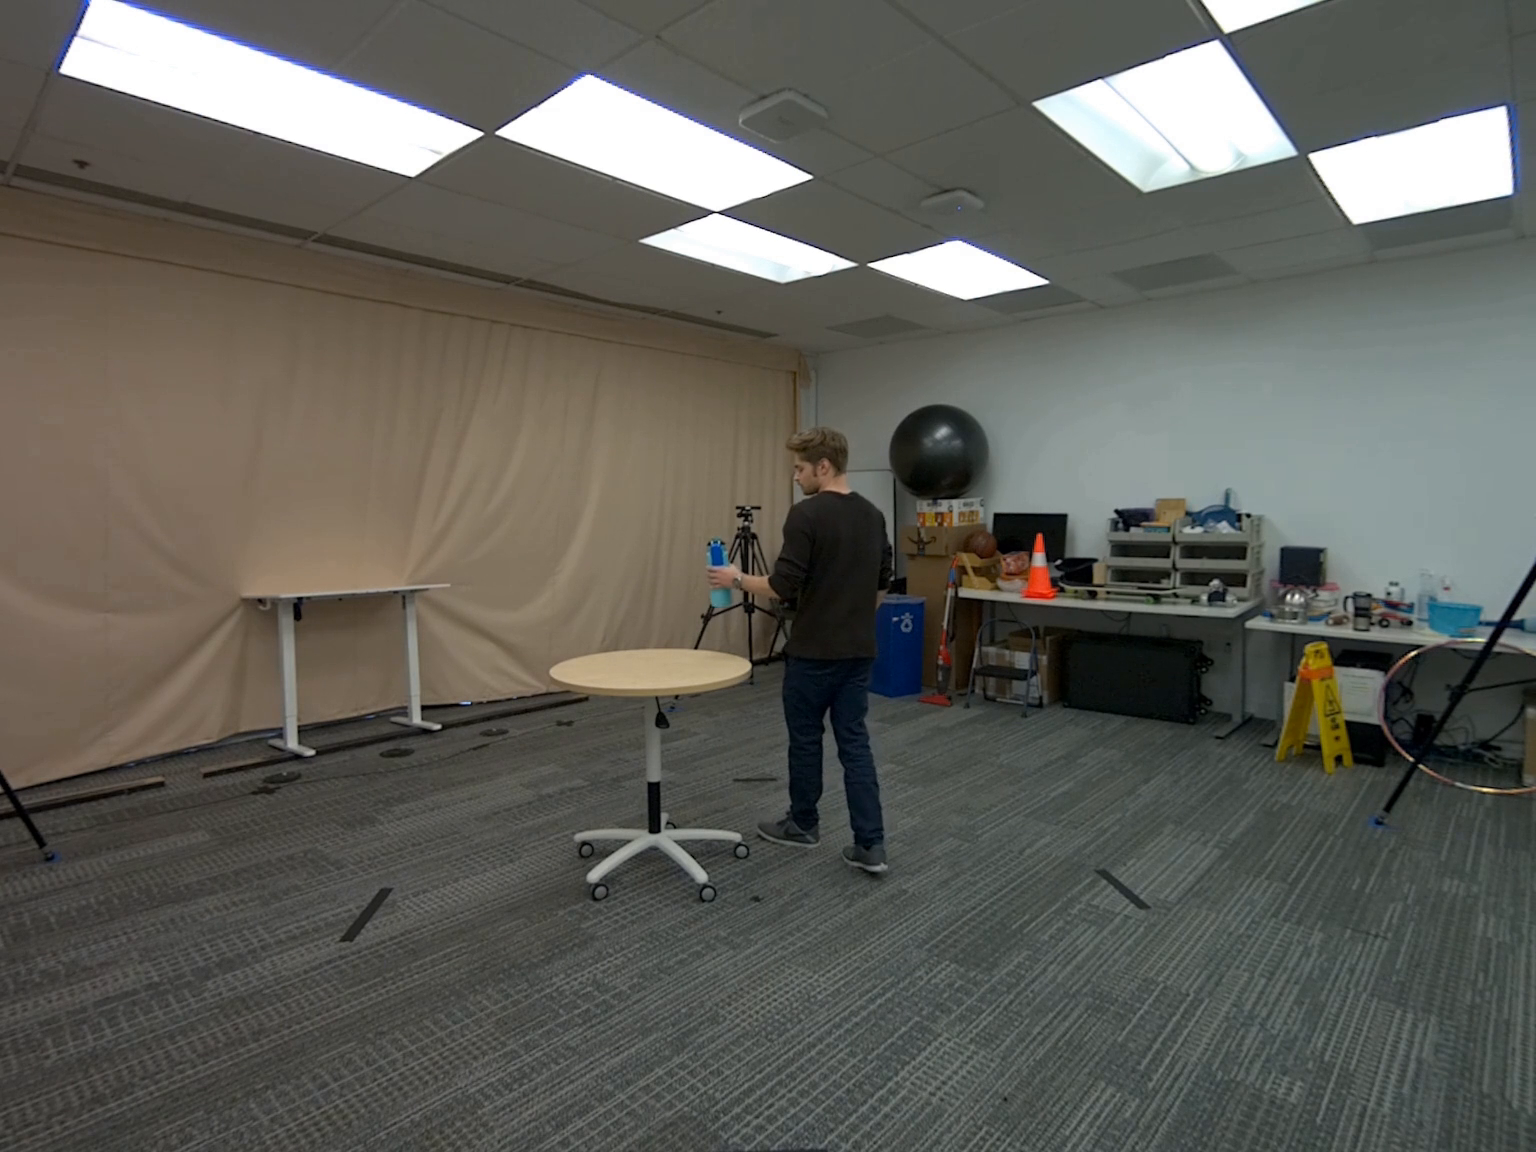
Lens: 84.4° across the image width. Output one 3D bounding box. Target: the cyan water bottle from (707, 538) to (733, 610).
[{"bbox_3d":[-0.195,-0.017,3.463,0.092,0.280,0.093,-4,15,-1],"label":"cyan water bottle"}]
